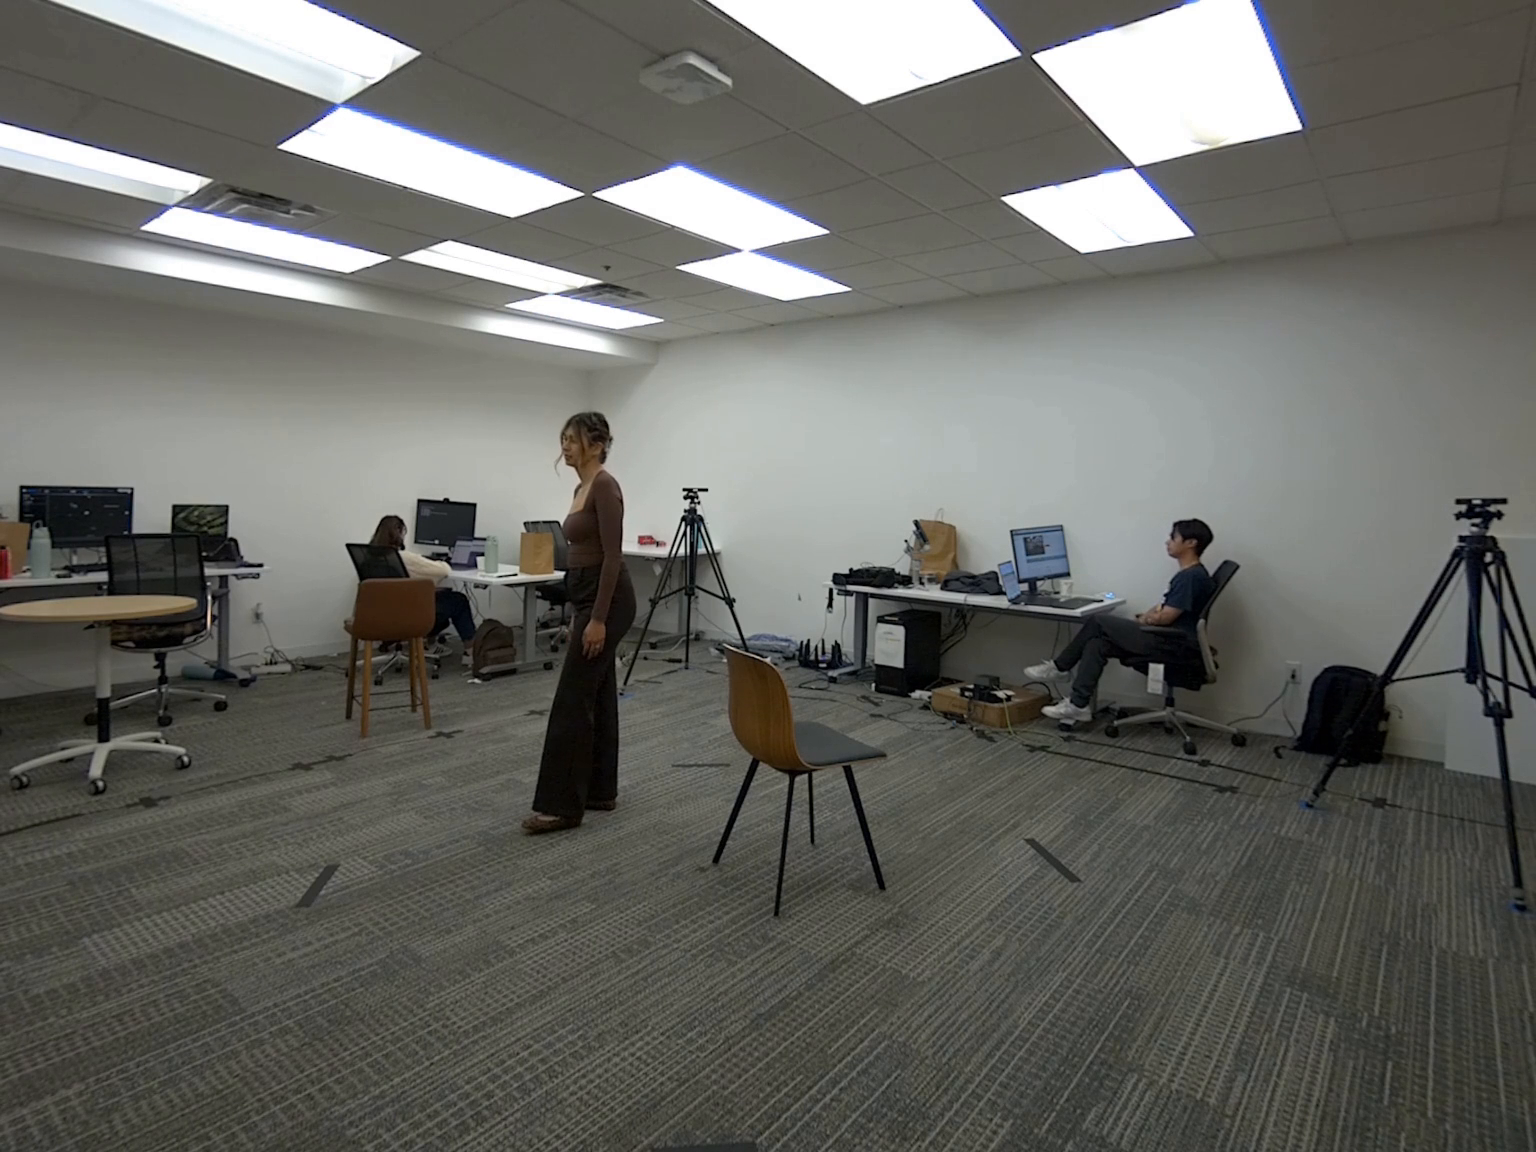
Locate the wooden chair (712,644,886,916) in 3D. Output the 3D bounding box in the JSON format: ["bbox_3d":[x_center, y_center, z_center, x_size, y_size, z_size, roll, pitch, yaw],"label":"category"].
[{"bbox_3d":[0.113,0.656,3.044,0.510,0.873,0.492,-5,6,-30],"label":"wooden chair"}]
